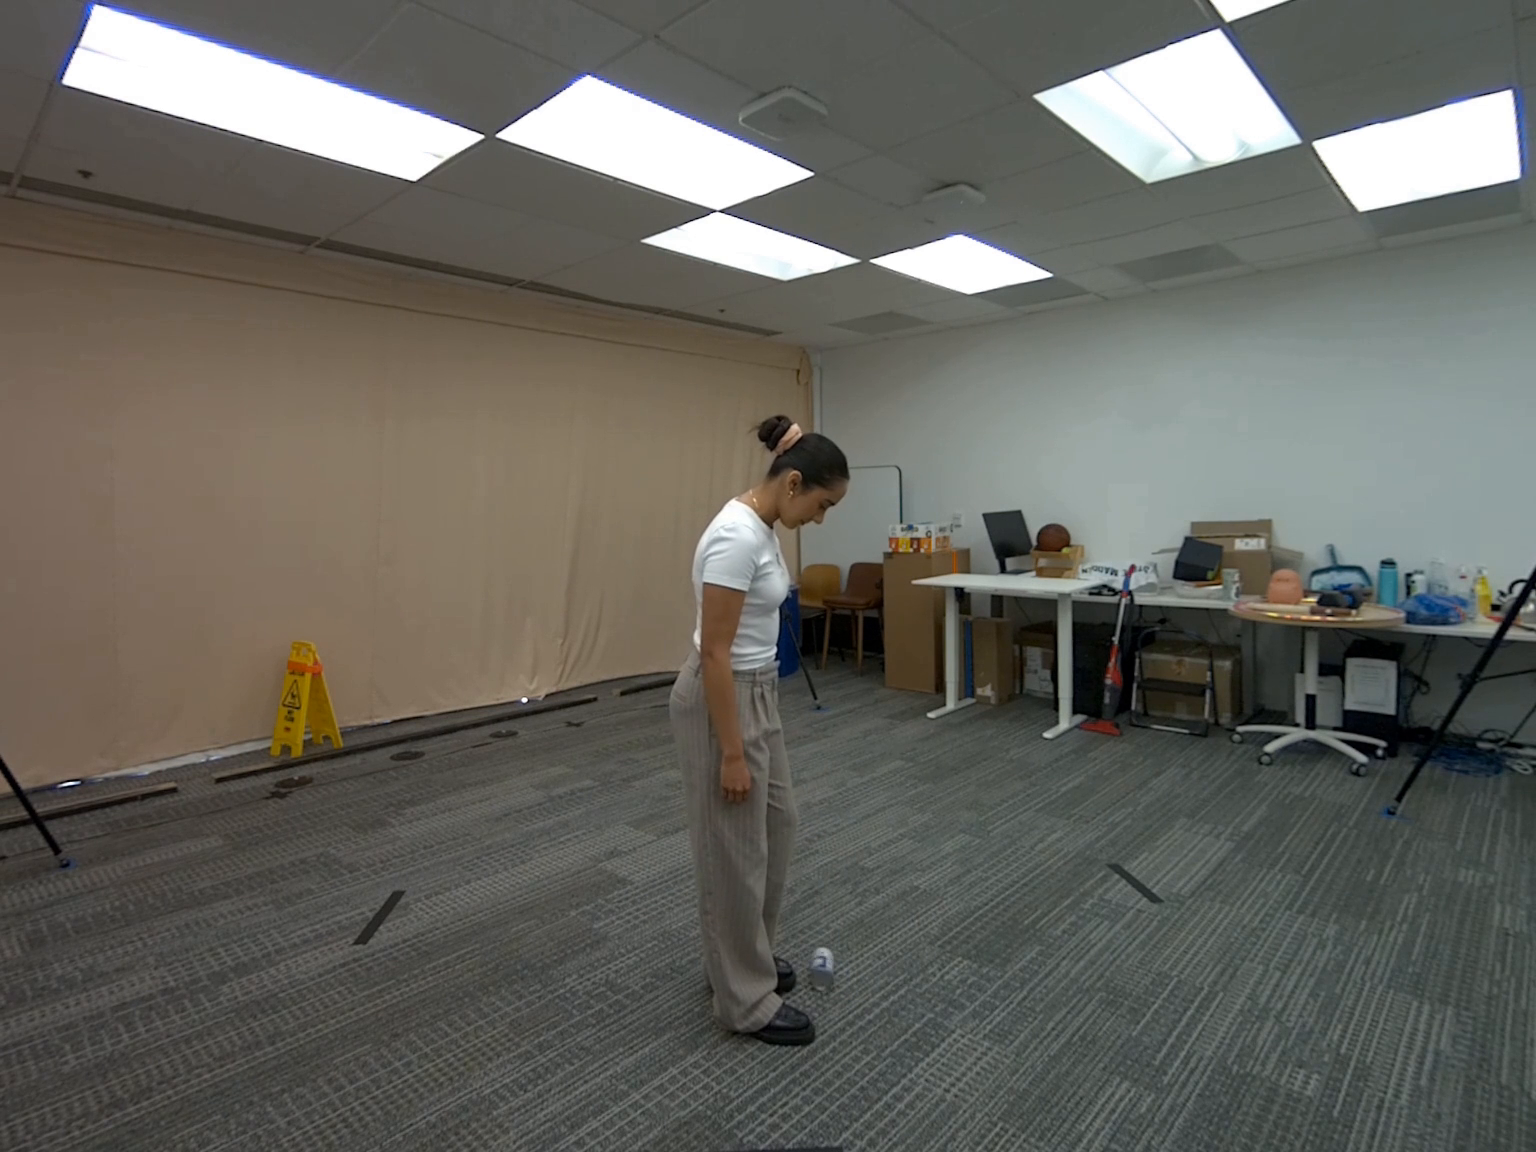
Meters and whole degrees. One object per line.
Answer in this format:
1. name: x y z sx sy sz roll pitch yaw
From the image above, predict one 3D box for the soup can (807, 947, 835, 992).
1. soup can: 0.157 1.149 2.449 0.067 0.067 0.121 -1 7 4
